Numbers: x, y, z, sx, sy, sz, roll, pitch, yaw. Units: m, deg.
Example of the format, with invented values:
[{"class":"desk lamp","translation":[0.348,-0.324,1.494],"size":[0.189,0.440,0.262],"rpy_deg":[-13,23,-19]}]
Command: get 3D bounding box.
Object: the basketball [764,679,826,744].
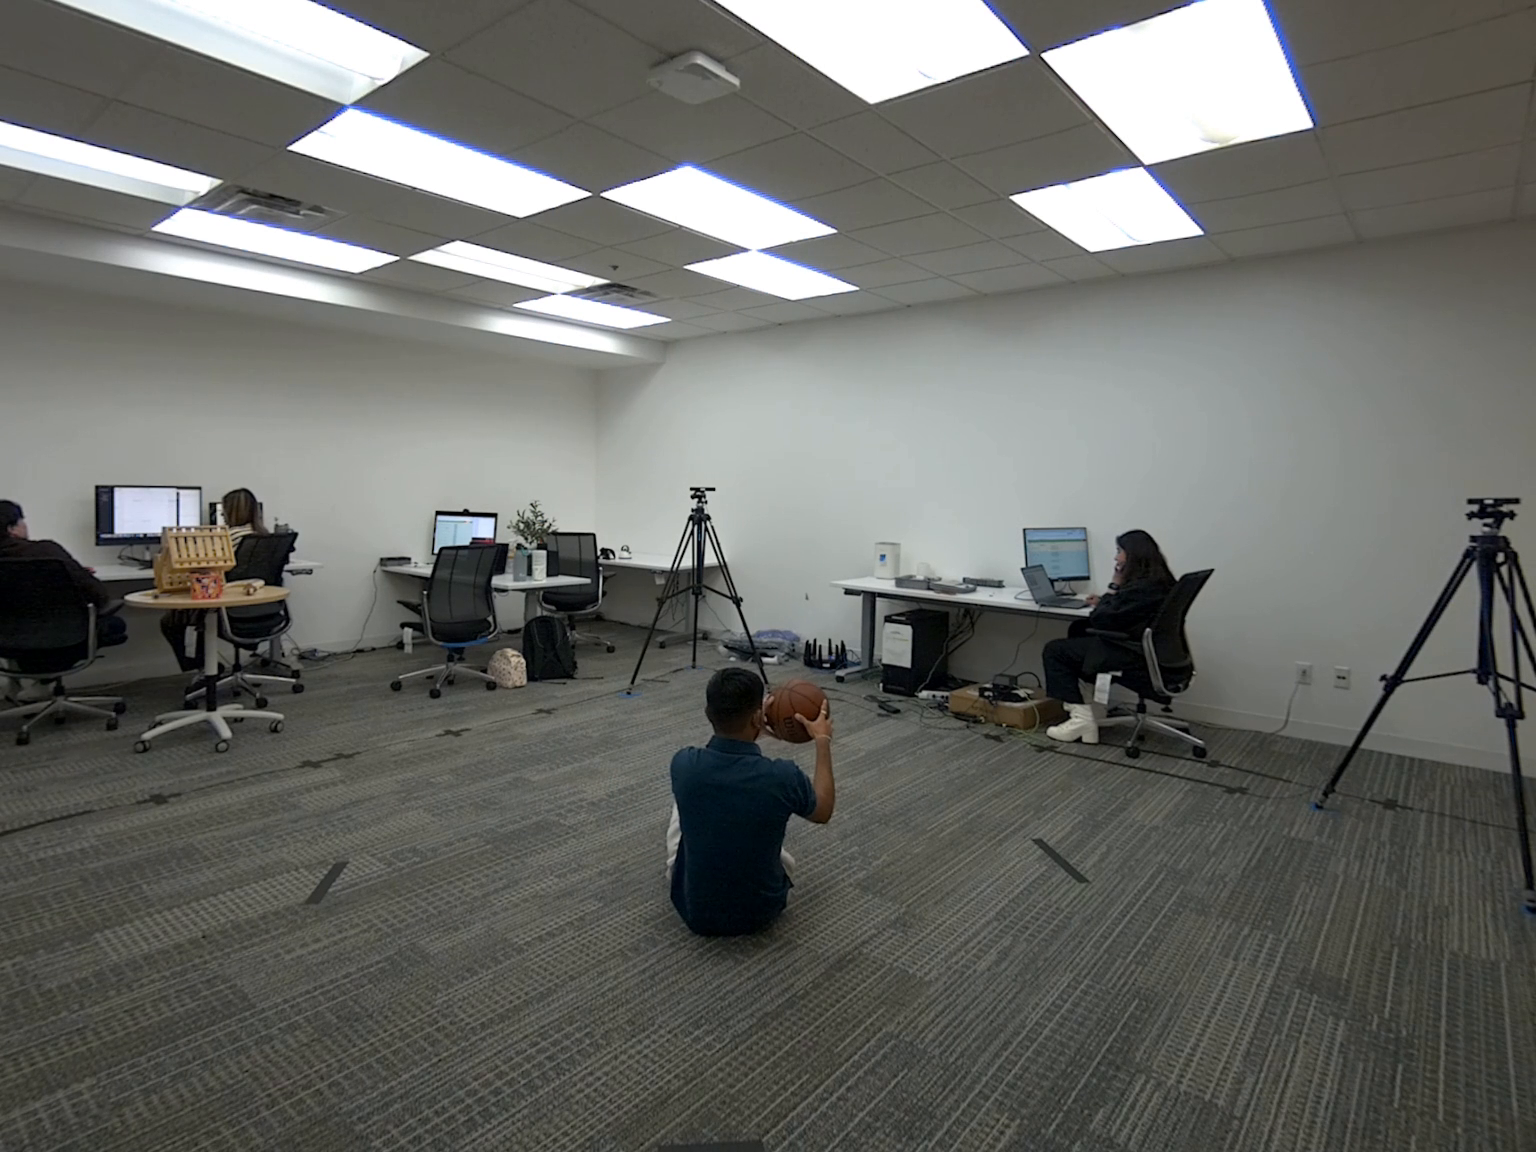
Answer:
[{"class":"basketball","translation":[0.110,0.508,3.150],"size":[0.235,0.235,0.237],"rpy_deg":[1,4,-2]}]
